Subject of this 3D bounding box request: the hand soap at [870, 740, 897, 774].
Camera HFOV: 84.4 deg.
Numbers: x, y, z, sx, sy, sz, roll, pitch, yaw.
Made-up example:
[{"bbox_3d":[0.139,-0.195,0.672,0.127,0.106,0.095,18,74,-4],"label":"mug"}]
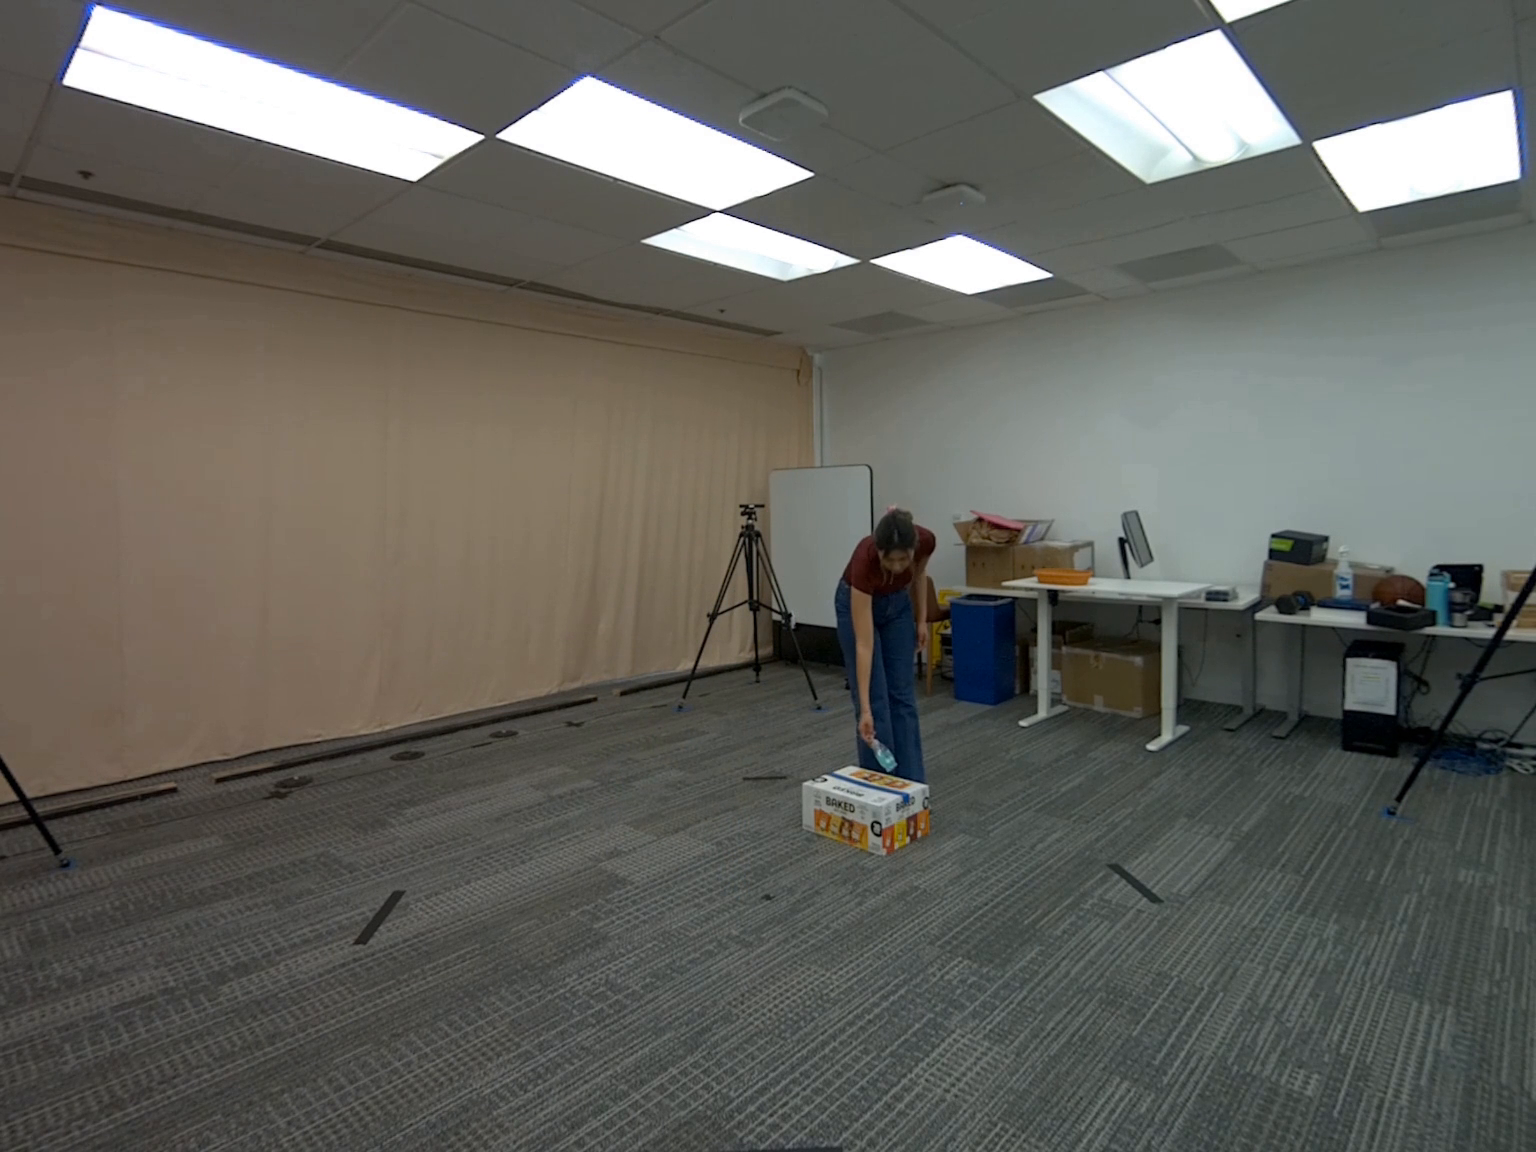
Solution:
[{"bbox_3d":[0.476,0.730,3.527,0.082,0.170,0.044,-15,-14,-44],"label":"hand soap"}]
